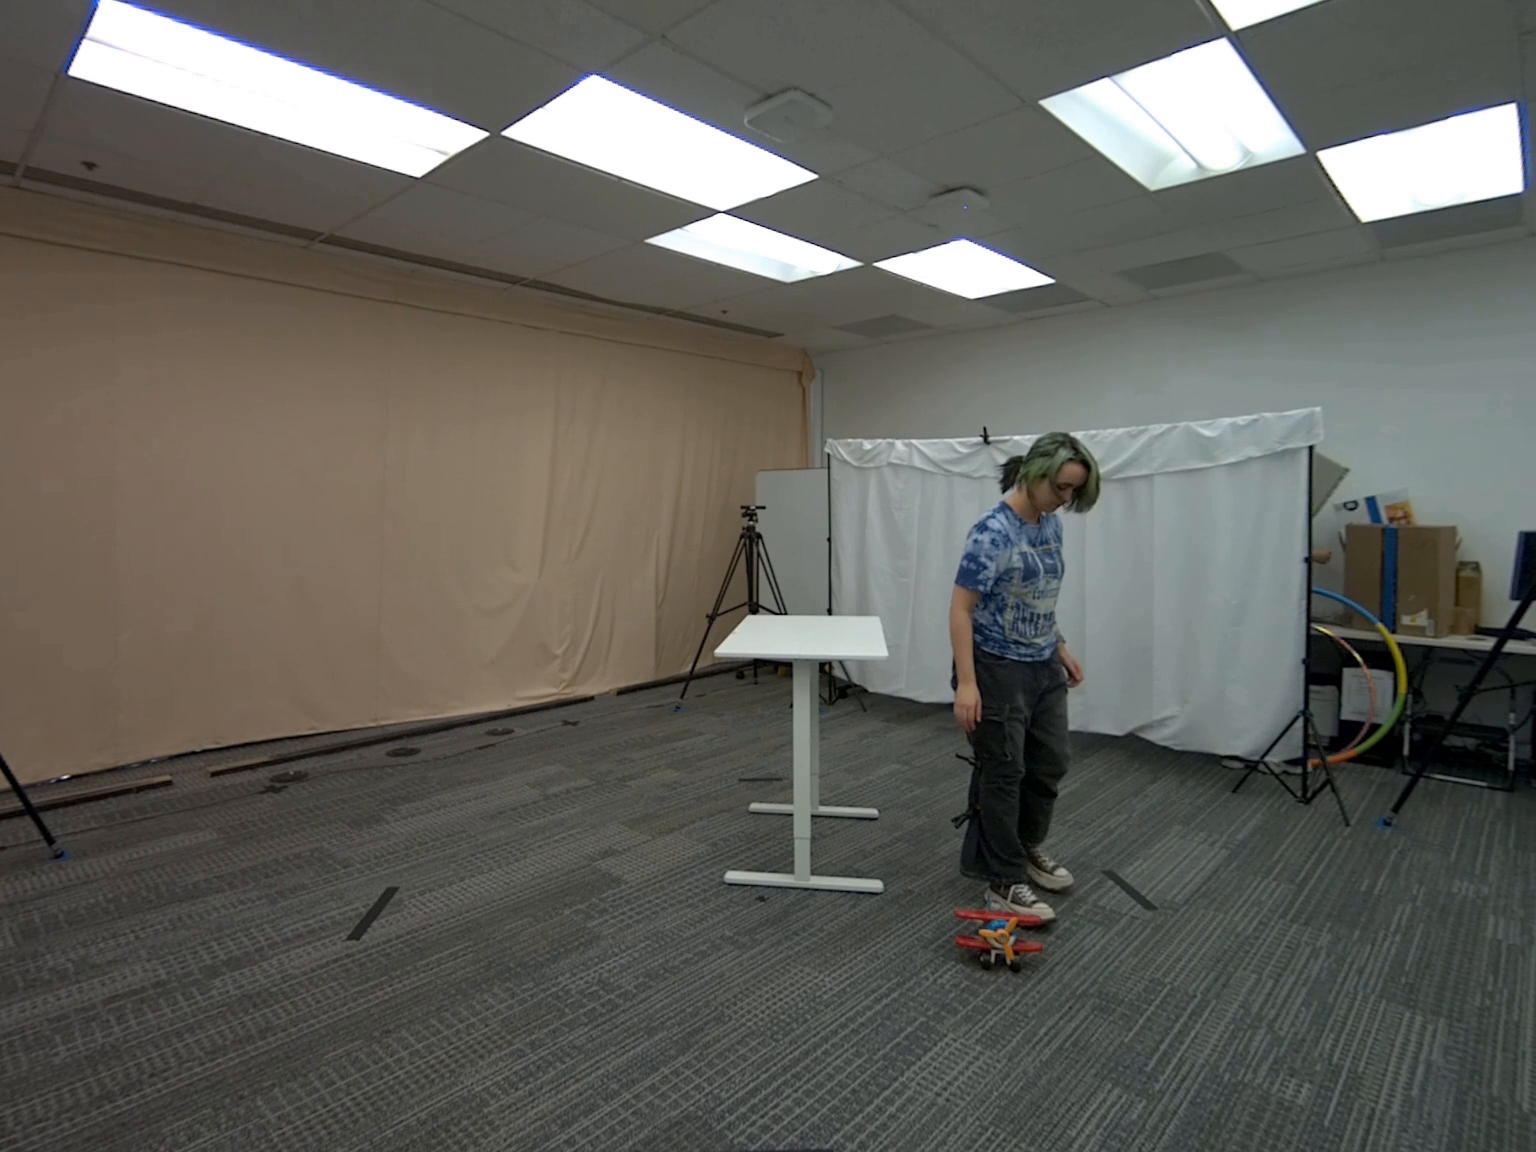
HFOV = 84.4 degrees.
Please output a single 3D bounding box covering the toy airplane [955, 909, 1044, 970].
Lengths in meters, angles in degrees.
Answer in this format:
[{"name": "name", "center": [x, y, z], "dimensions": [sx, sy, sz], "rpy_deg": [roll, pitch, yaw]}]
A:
[{"name": "toy airplane", "center": [0.696, 1.101, 2.609], "dimensions": [0.246, 0.156, 0.265], "rpy_deg": [-1, 4, -20]}]
